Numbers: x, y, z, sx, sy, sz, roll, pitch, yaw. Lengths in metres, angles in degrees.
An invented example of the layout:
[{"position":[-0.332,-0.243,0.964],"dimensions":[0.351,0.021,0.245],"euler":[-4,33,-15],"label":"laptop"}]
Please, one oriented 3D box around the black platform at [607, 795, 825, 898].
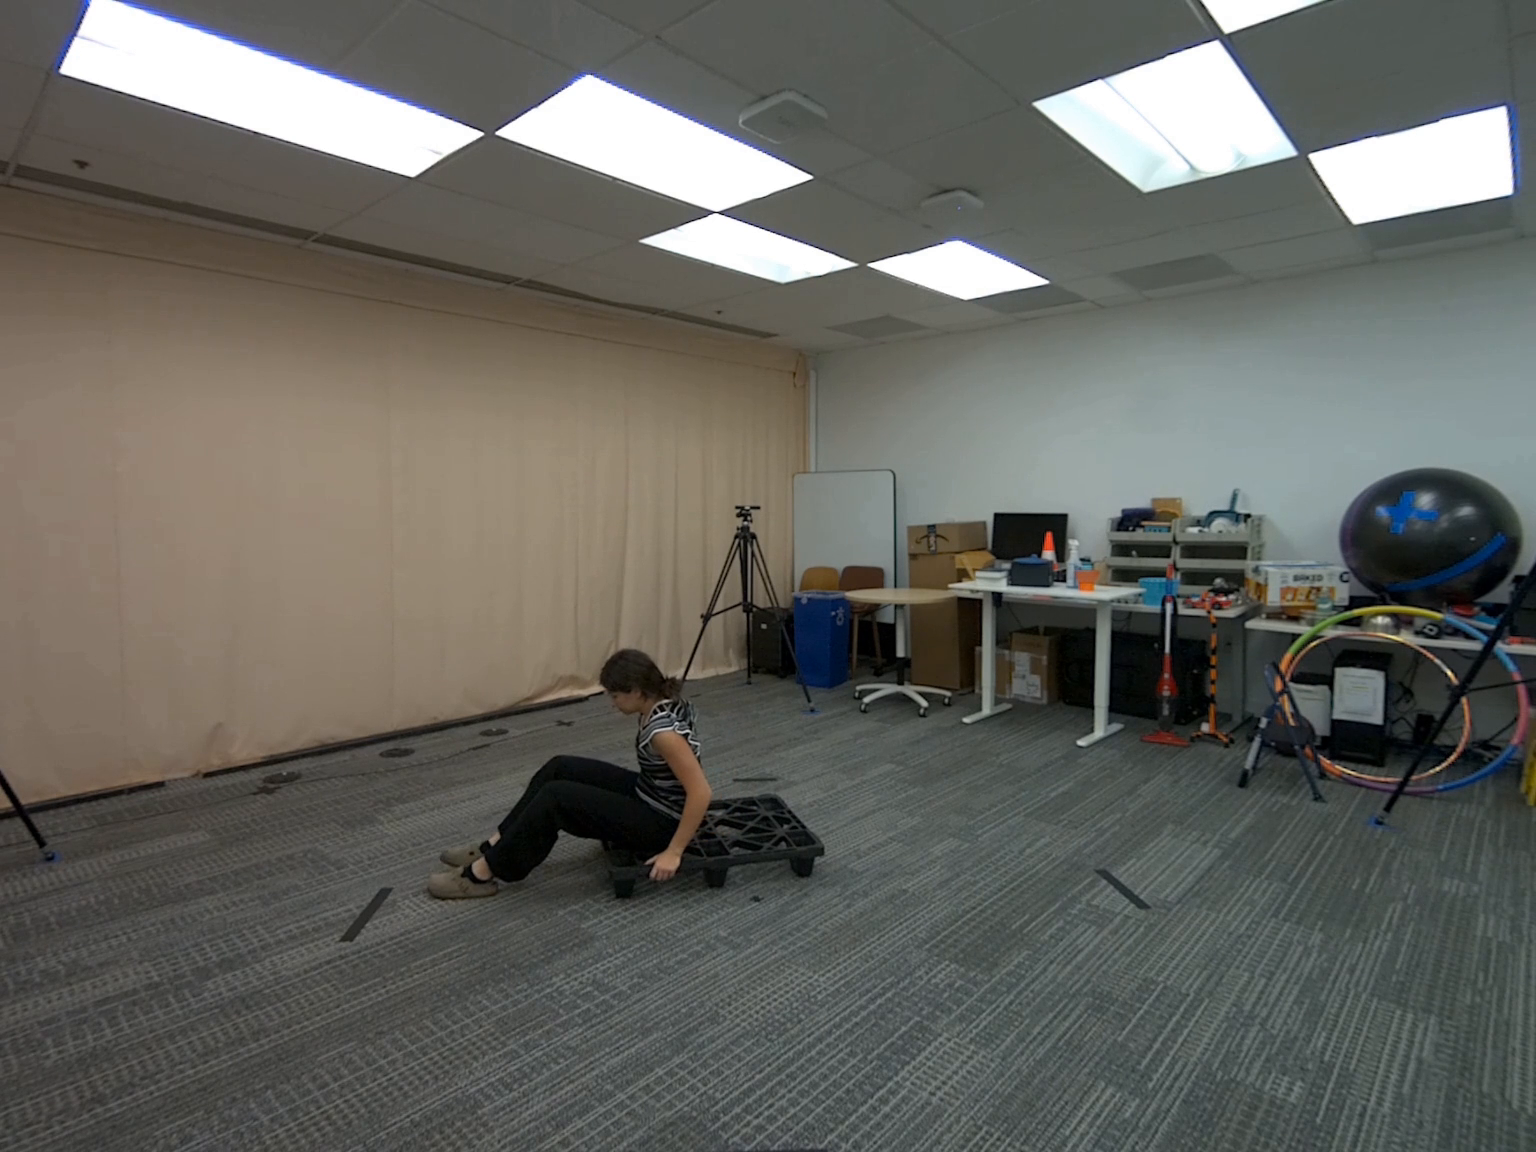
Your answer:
[{"position":[-0.256,1.052,3.297],"dimensions":[0.794,0.143,0.615],"euler":[-2,4,-14],"label":"black platform"}]
